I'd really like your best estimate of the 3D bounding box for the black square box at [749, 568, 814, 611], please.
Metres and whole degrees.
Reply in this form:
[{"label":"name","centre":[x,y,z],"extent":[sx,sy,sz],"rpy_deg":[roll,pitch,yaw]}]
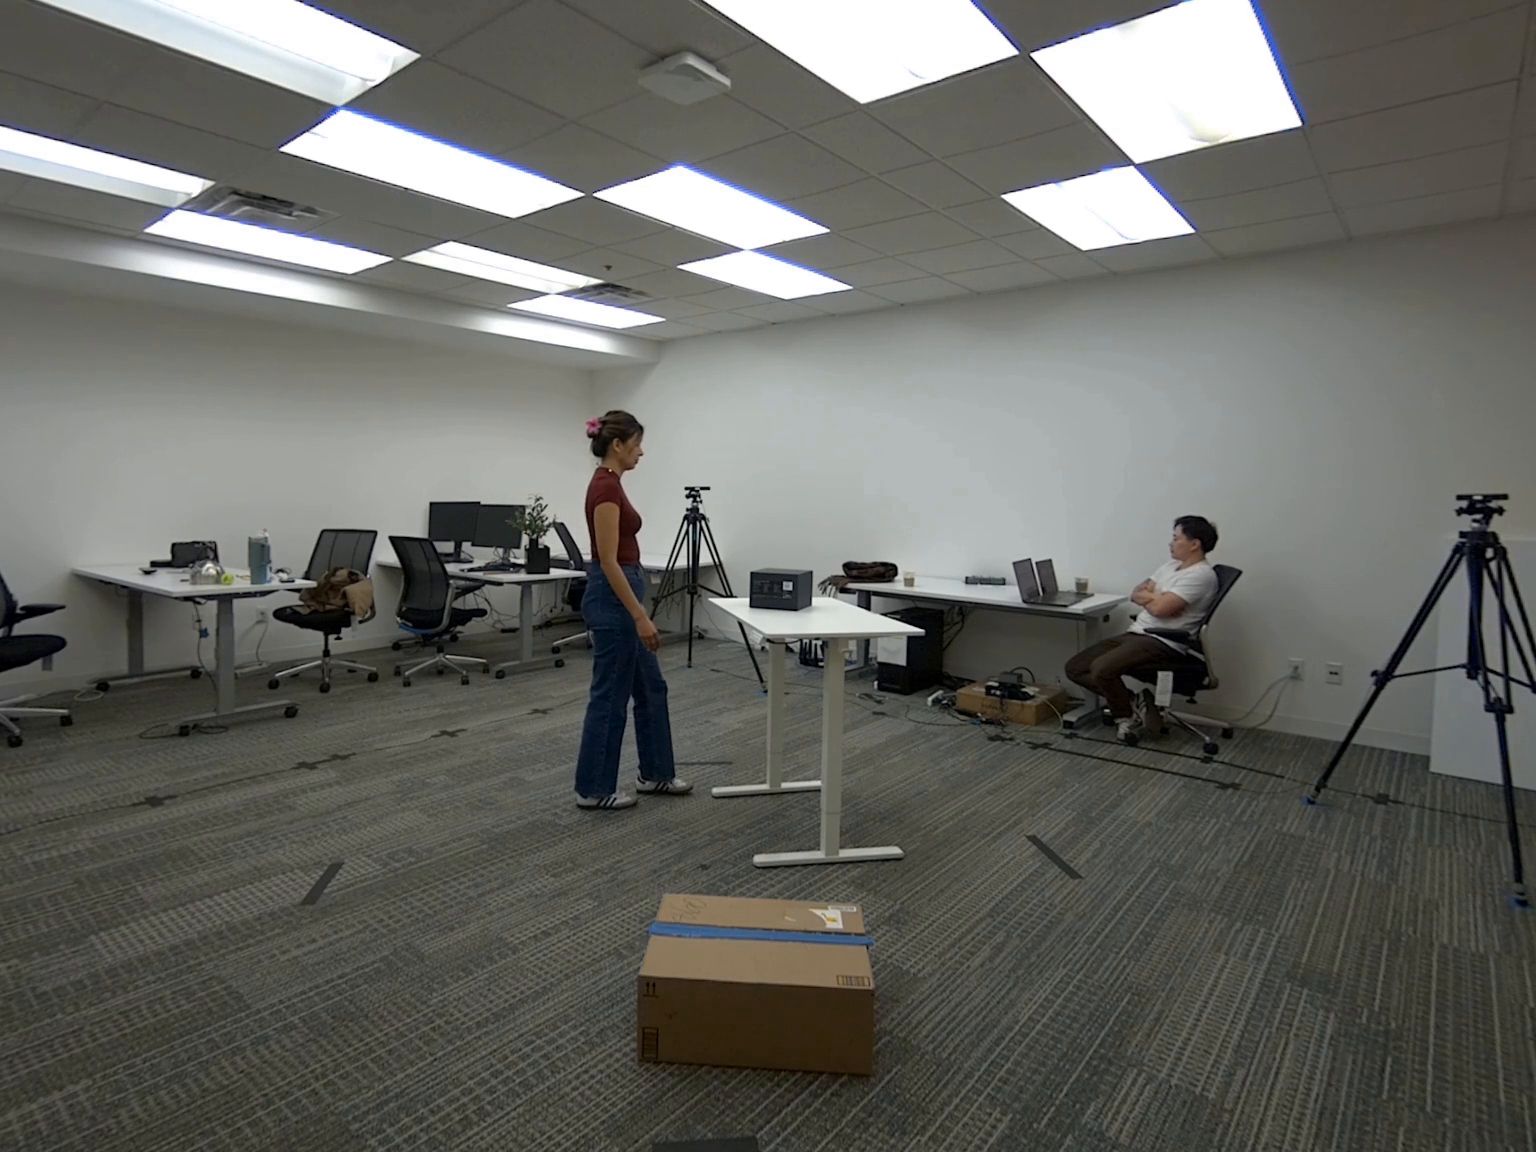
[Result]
[{"label":"black square box","centre":[0.053,0.051,3.691],"extent":[0.222,0.155,0.223],"rpy_deg":[3,5,21]}]
